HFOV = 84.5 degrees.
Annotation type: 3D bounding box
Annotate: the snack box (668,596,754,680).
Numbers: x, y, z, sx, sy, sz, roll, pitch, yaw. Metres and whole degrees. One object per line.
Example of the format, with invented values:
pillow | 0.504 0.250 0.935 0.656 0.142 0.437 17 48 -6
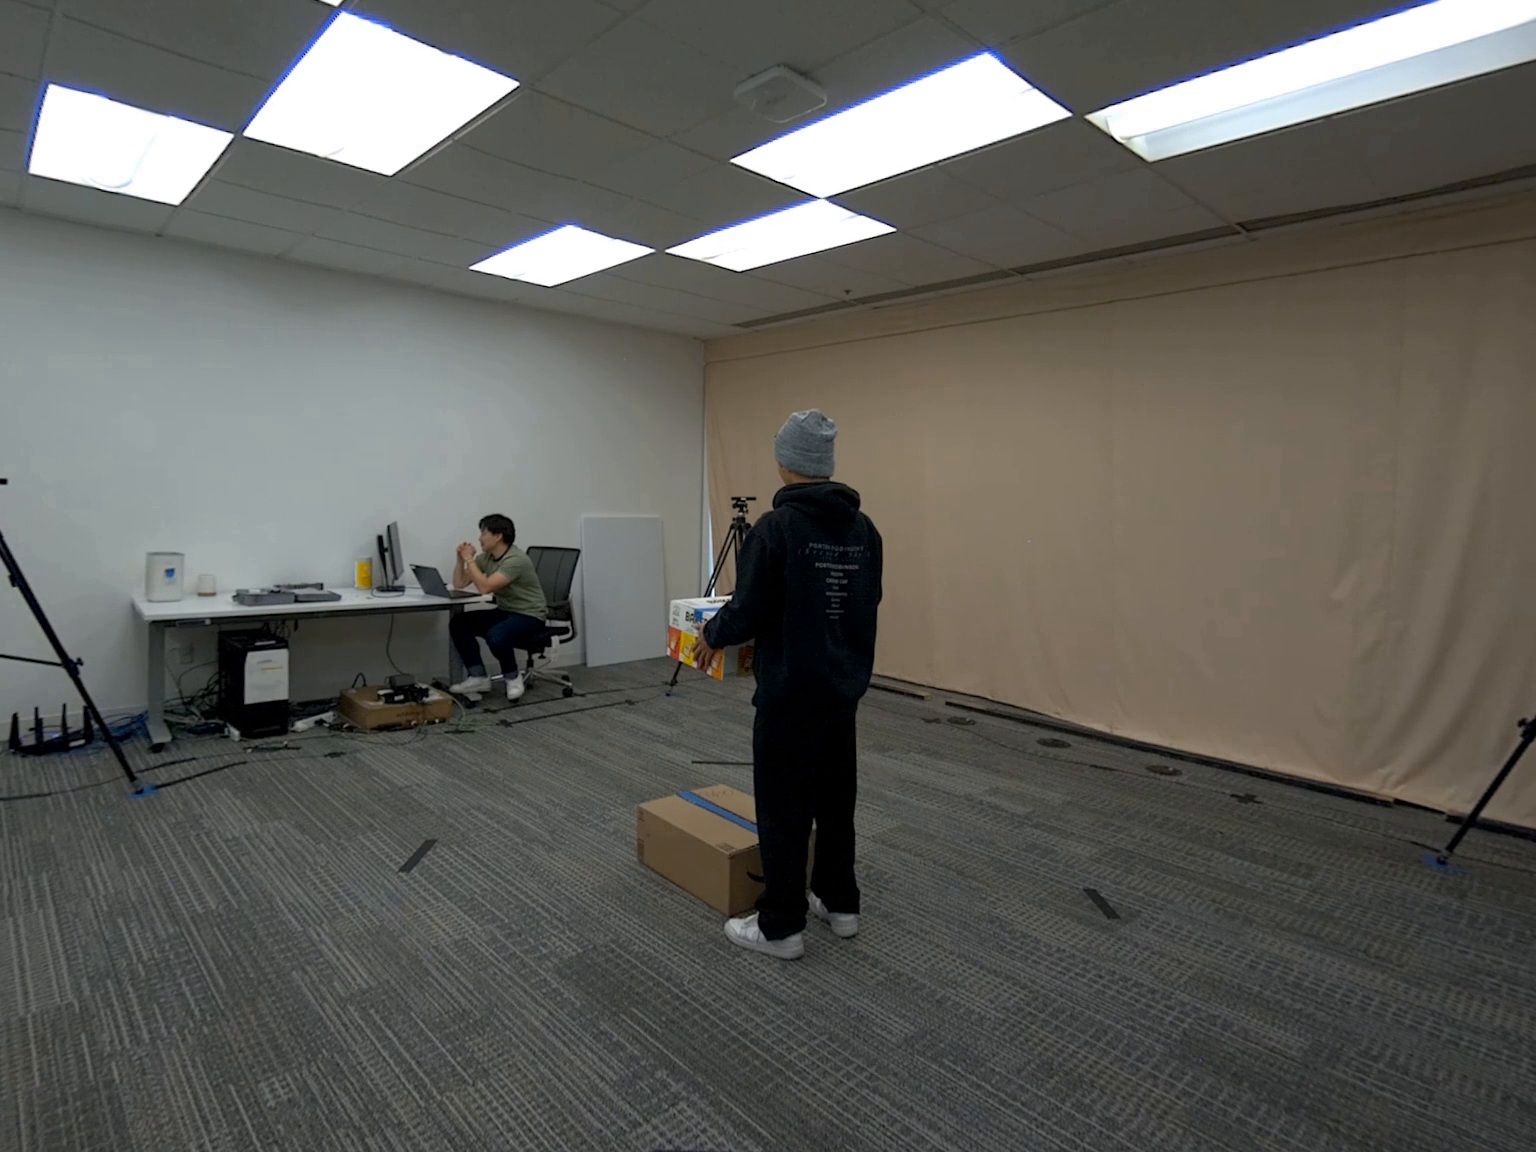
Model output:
snack box | -0.106 0.210 3.026 0.396 0.204 0.350 -3 13 -38
